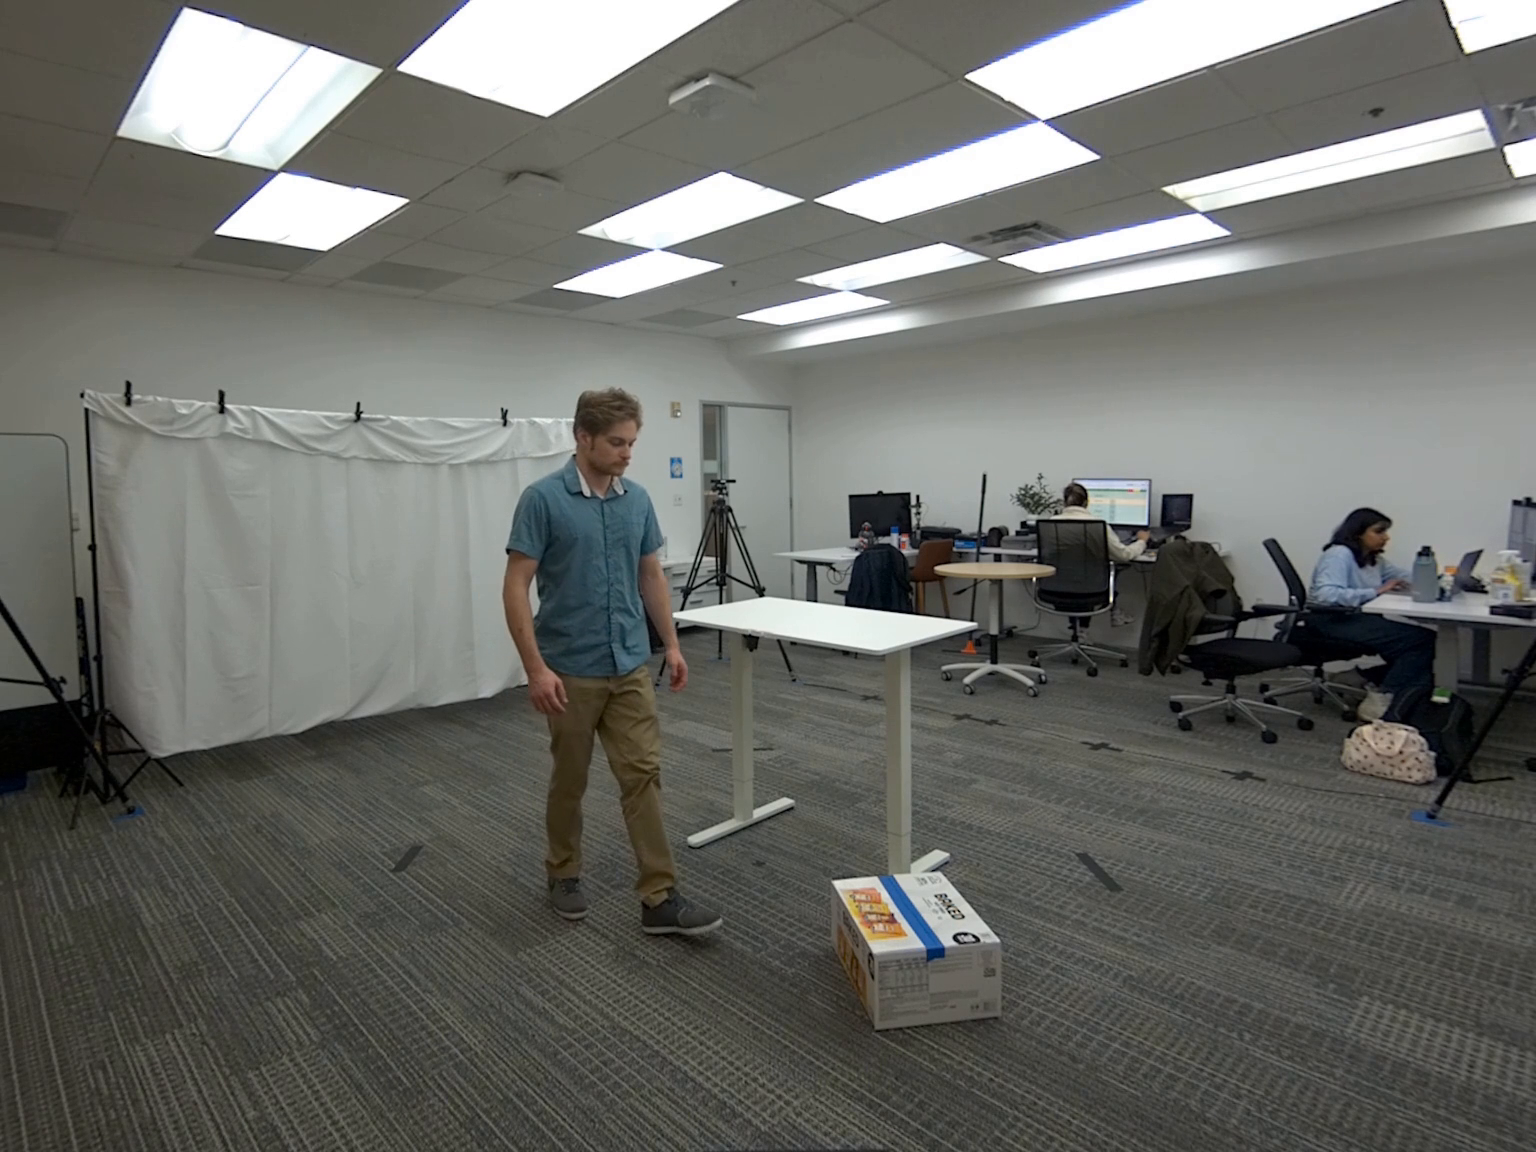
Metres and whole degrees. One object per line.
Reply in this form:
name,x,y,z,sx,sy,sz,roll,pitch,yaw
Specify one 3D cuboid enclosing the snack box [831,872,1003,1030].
snack box,0.401,1.025,2.363,0.337,0.205,0.410,-2,6,-9
